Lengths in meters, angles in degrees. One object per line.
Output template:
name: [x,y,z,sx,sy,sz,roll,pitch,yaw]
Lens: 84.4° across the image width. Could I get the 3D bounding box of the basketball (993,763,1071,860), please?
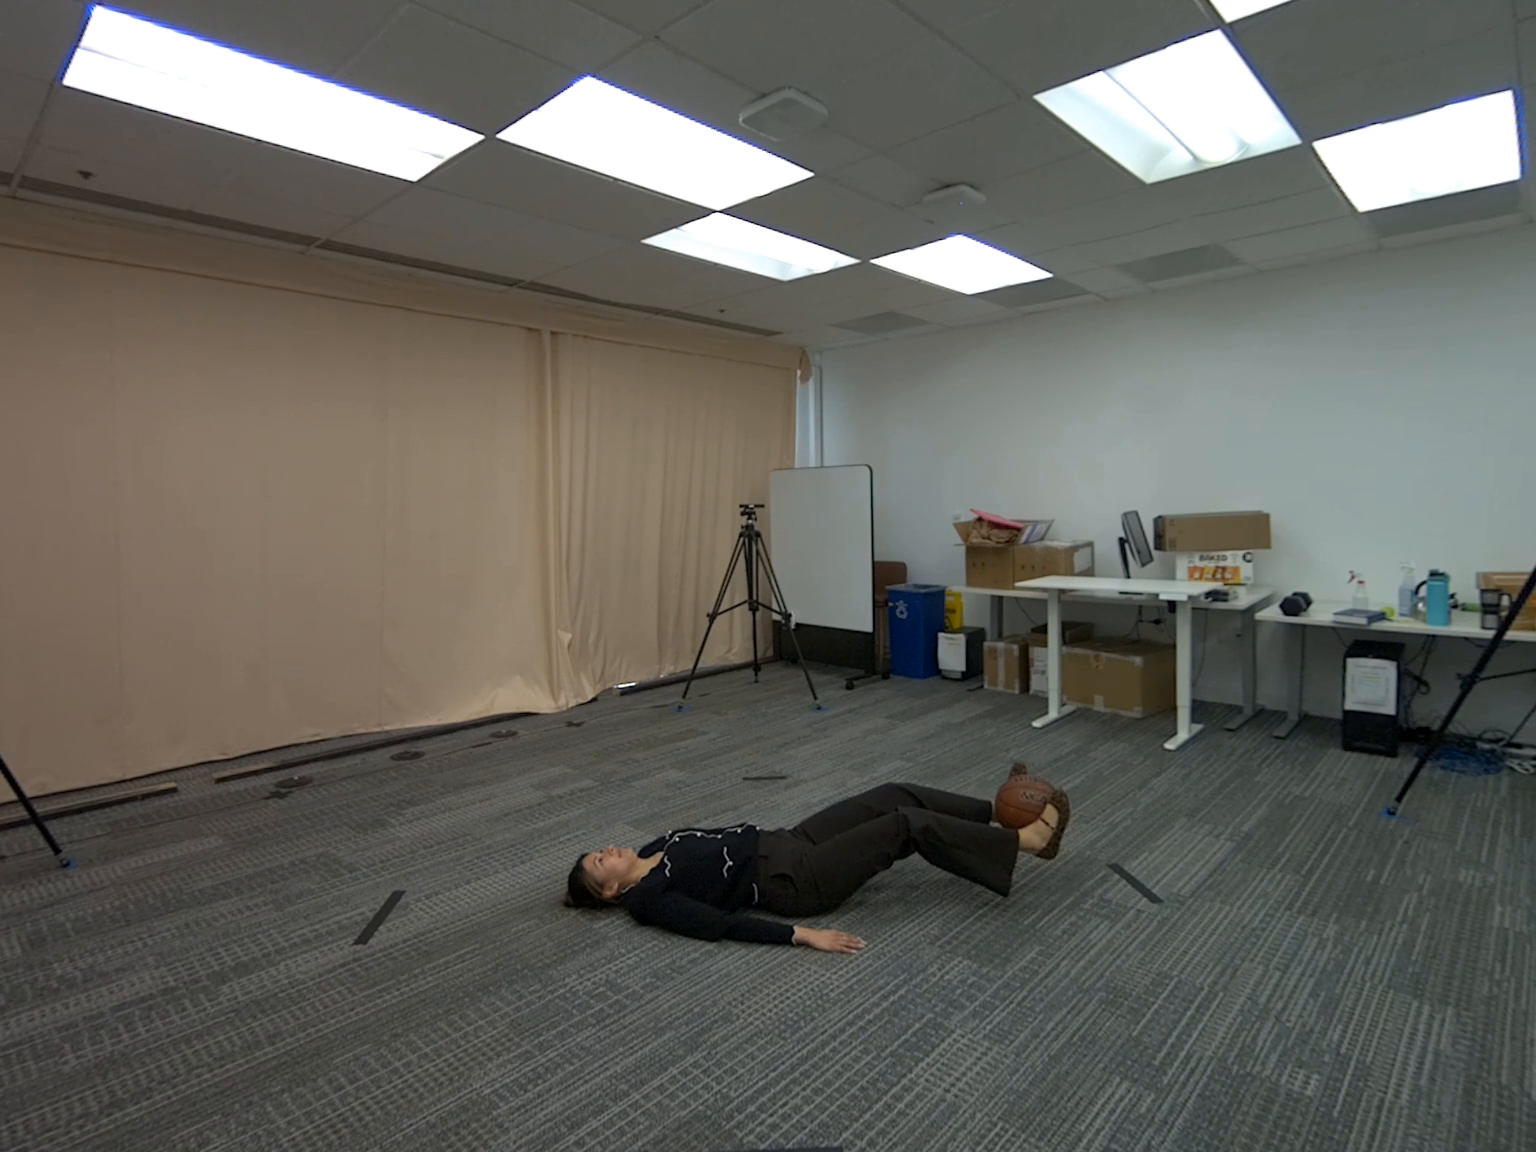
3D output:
basketball: [0.953,0.831,3.044,0.236,0.236,0.236,0,1,-2]
